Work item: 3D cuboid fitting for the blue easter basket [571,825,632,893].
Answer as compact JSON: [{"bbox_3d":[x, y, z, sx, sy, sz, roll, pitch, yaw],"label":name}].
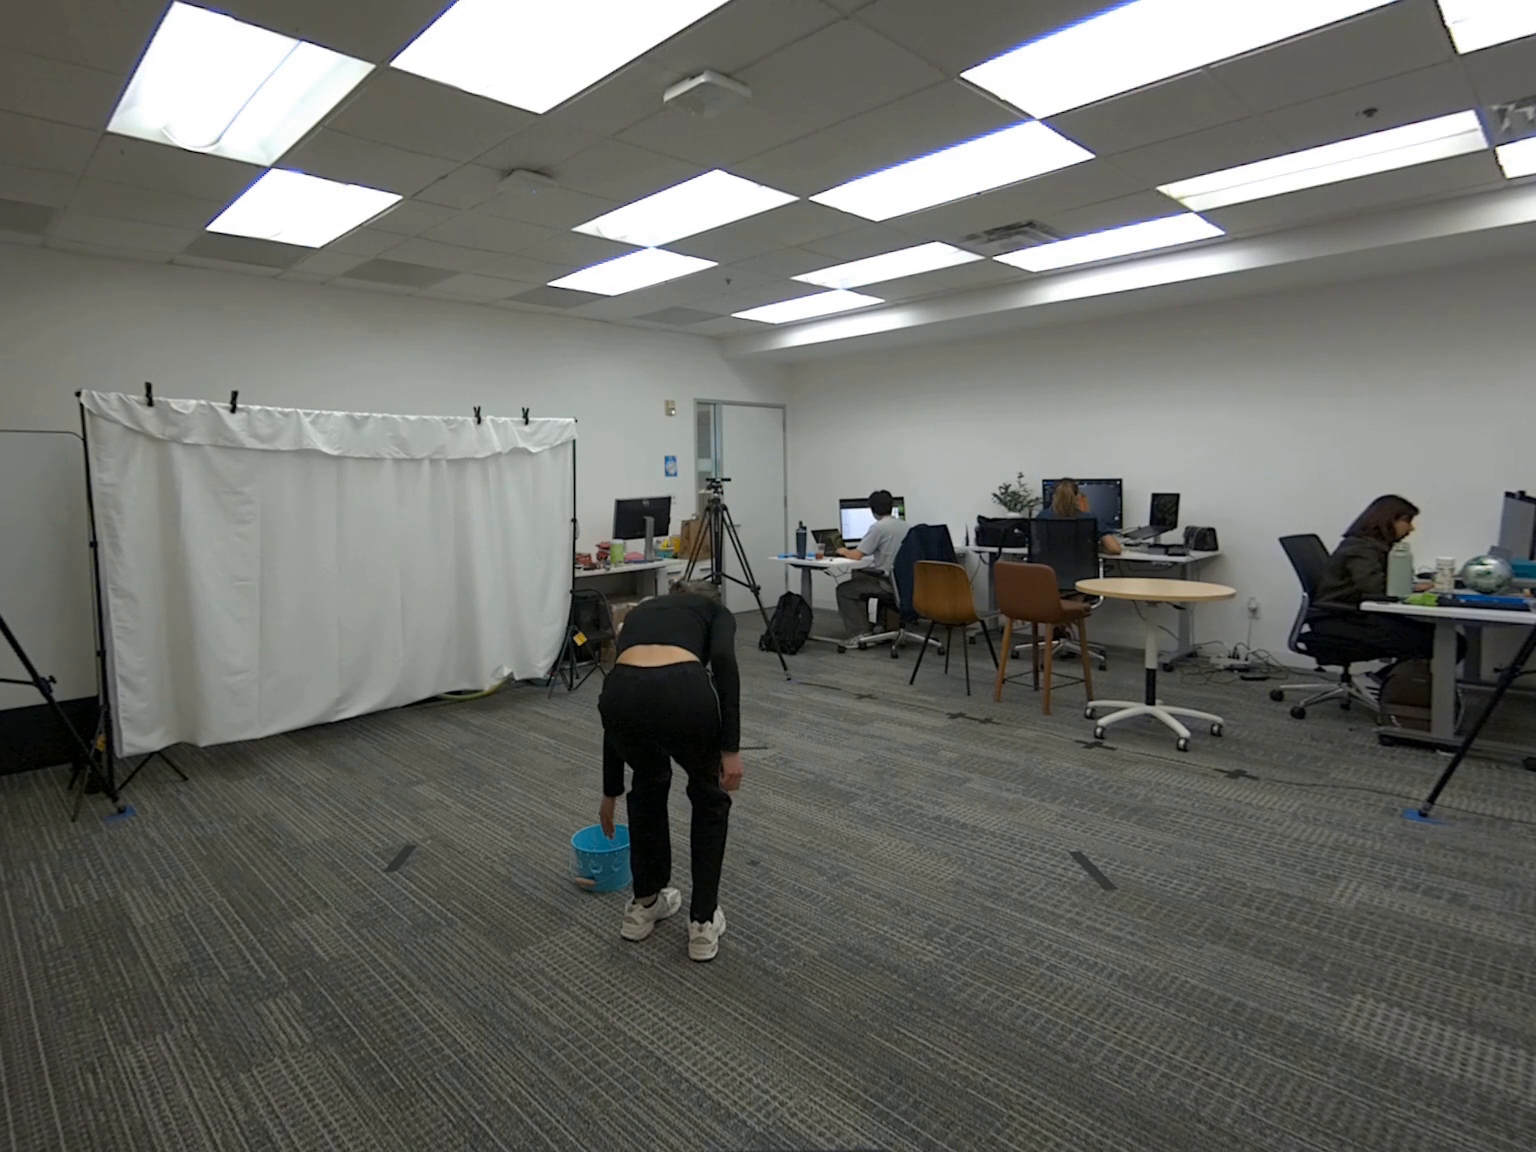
[{"bbox_3d":[-0.568,0.986,2.991,0.243,0.155,0.245,-2,6,-2],"label":"blue easter basket"}]
